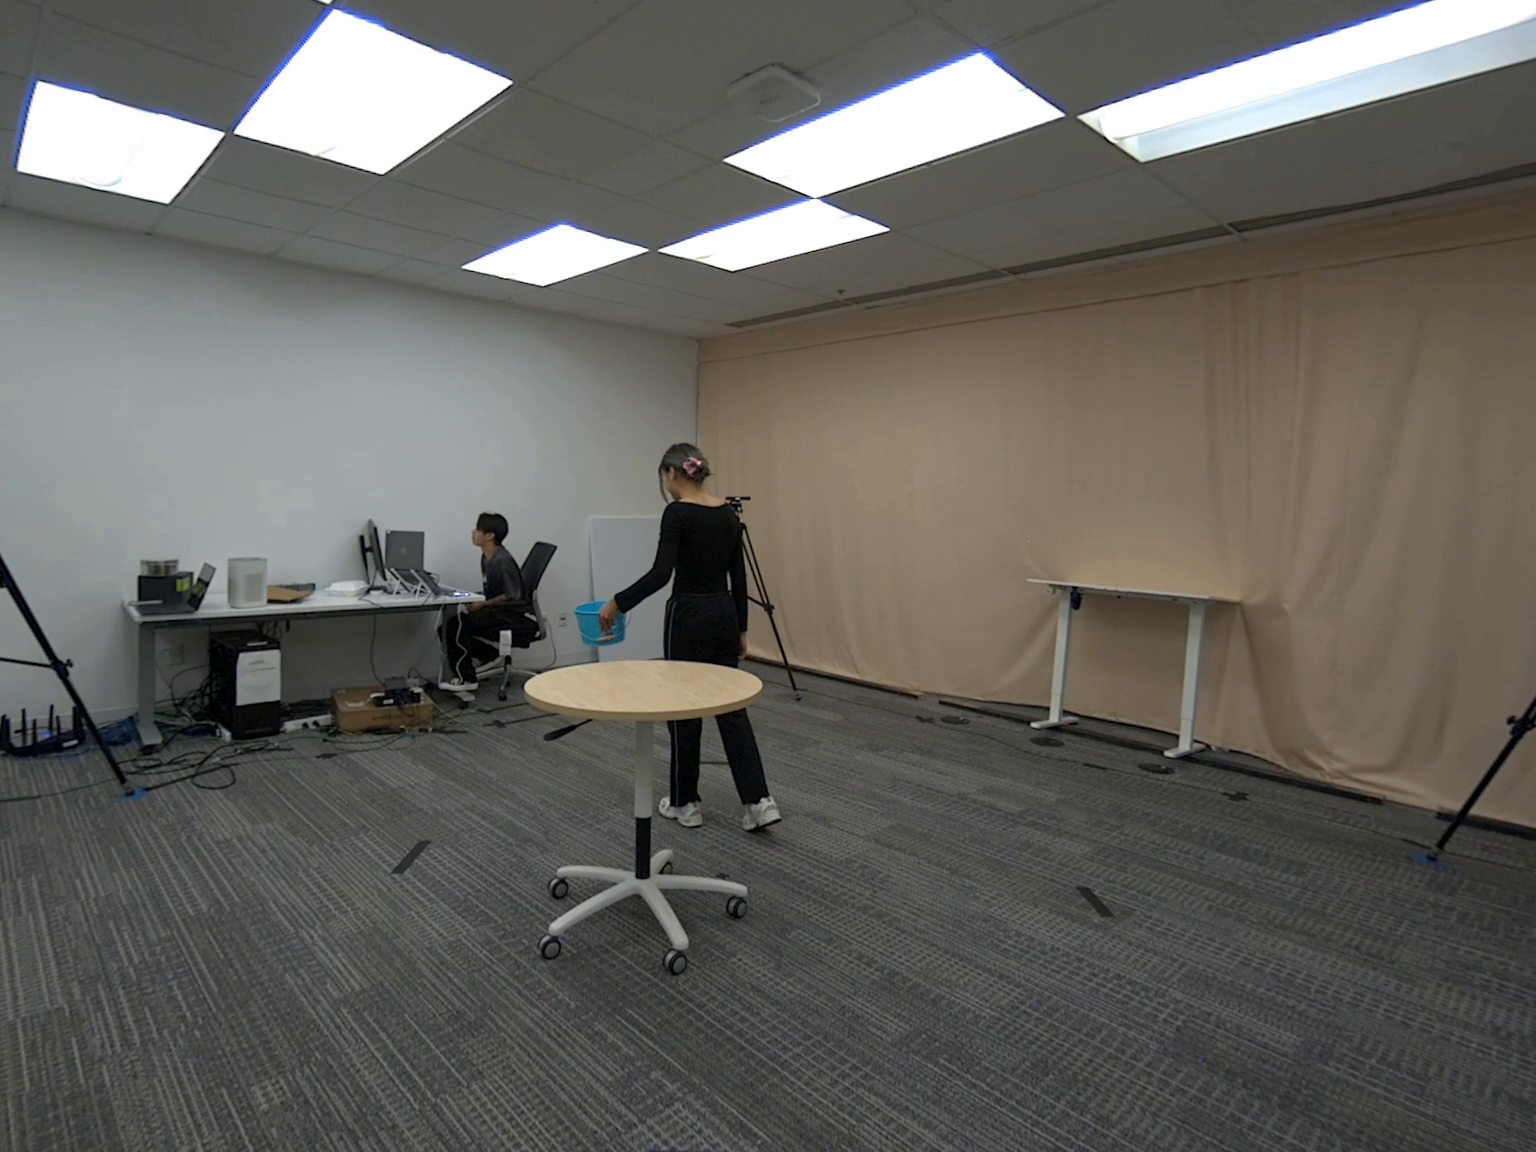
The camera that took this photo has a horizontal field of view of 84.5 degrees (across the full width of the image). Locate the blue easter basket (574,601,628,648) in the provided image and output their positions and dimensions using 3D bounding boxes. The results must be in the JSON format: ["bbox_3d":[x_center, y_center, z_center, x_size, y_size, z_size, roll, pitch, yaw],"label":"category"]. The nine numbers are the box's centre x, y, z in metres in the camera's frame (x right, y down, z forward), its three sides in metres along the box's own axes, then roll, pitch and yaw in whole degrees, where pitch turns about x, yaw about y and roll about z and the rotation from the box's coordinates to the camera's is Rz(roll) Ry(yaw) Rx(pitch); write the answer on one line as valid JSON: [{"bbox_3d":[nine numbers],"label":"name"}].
[{"bbox_3d":[-0.718,0.204,3.616,0.243,0.155,0.245,-3,10,-1],"label":"blue easter basket"}]
